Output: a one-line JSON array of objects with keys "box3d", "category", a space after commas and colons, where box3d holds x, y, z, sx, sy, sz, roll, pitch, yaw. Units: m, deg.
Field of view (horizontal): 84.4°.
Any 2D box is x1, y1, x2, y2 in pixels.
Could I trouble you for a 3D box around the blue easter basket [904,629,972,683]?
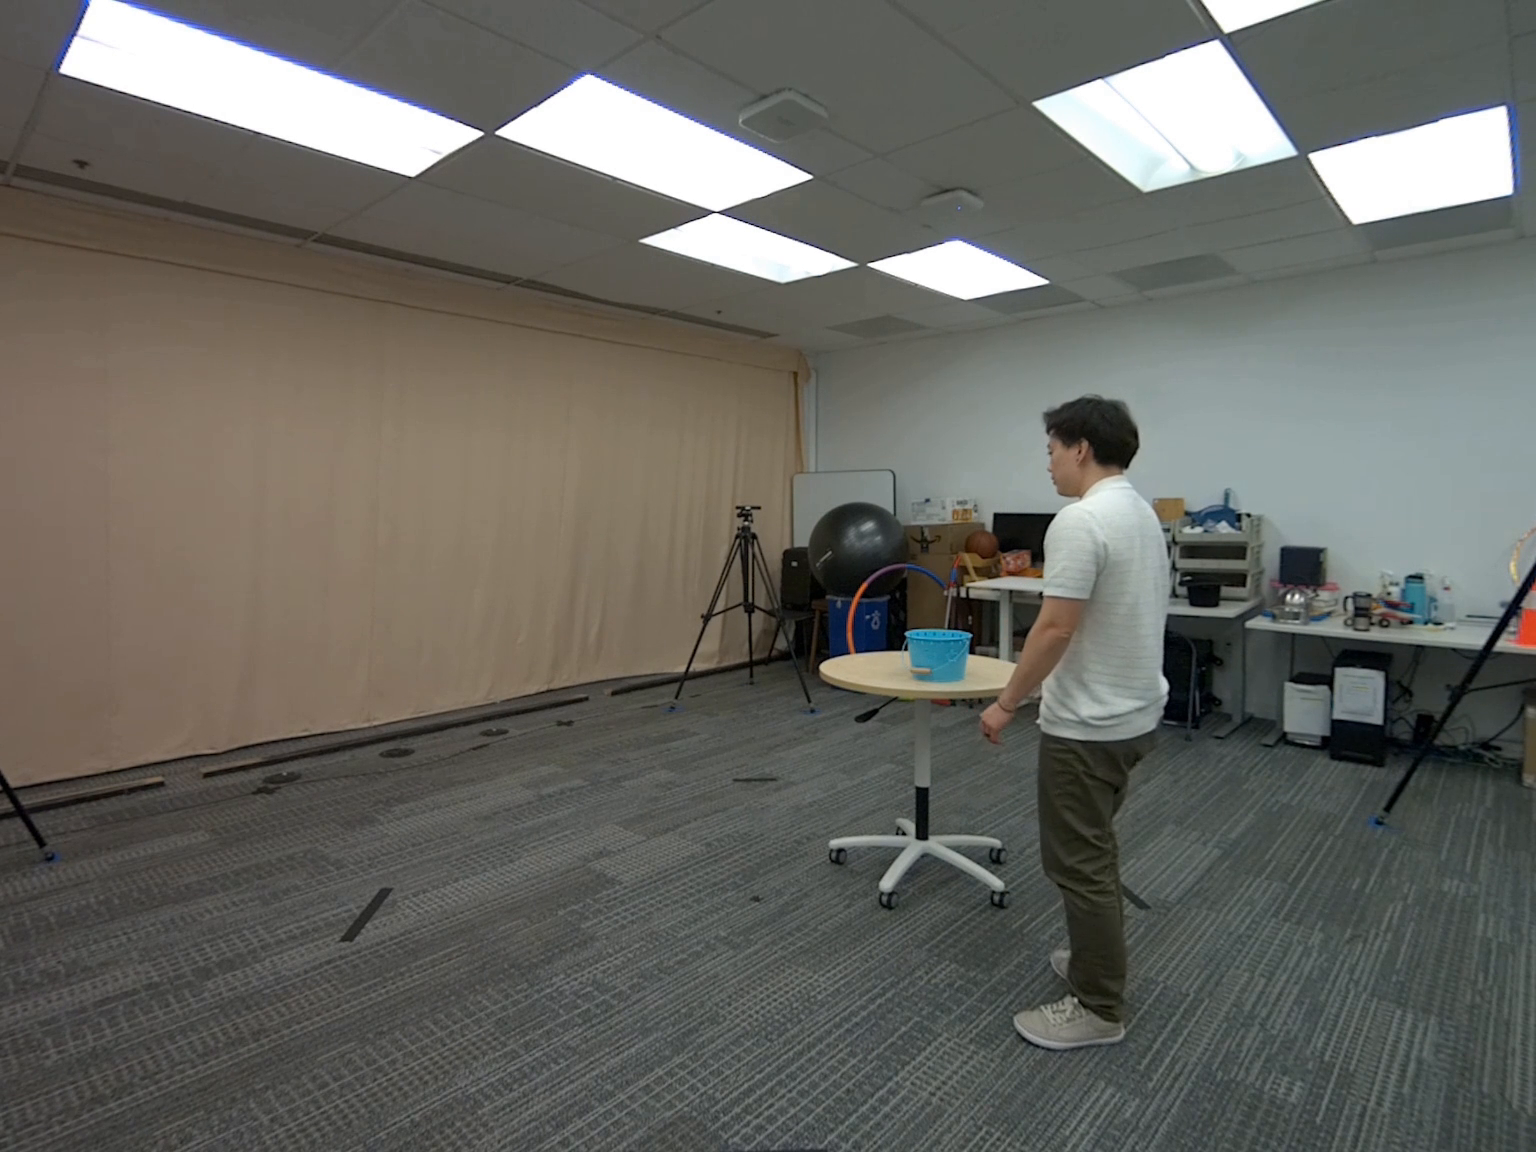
[{"box3d": [0.603, 0.284, 2.984, 0.243, 0.155, 0.244, -1, 4, -2], "category": "blue easter basket"}]
